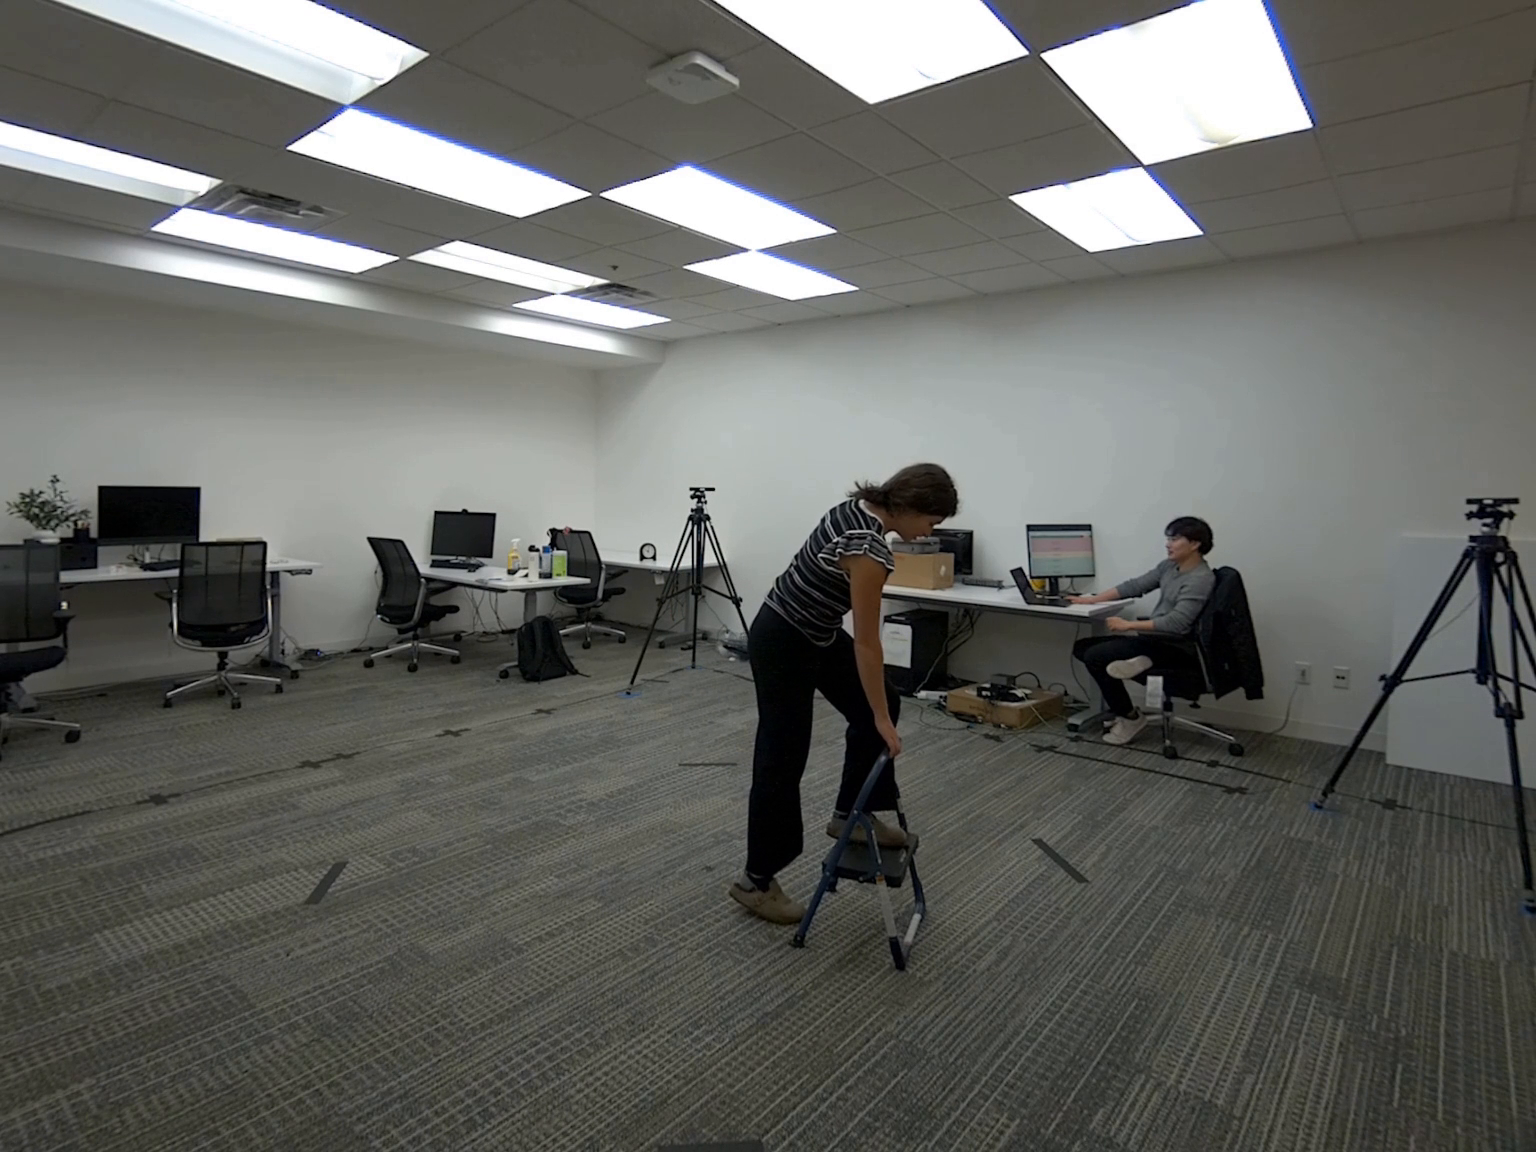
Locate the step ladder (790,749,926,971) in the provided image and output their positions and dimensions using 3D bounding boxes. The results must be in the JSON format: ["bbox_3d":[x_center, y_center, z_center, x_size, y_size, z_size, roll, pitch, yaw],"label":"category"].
[{"bbox_3d":[0.301,0.815,2.706,0.357,0.604,0.423,3,4,20],"label":"step ladder"}]
